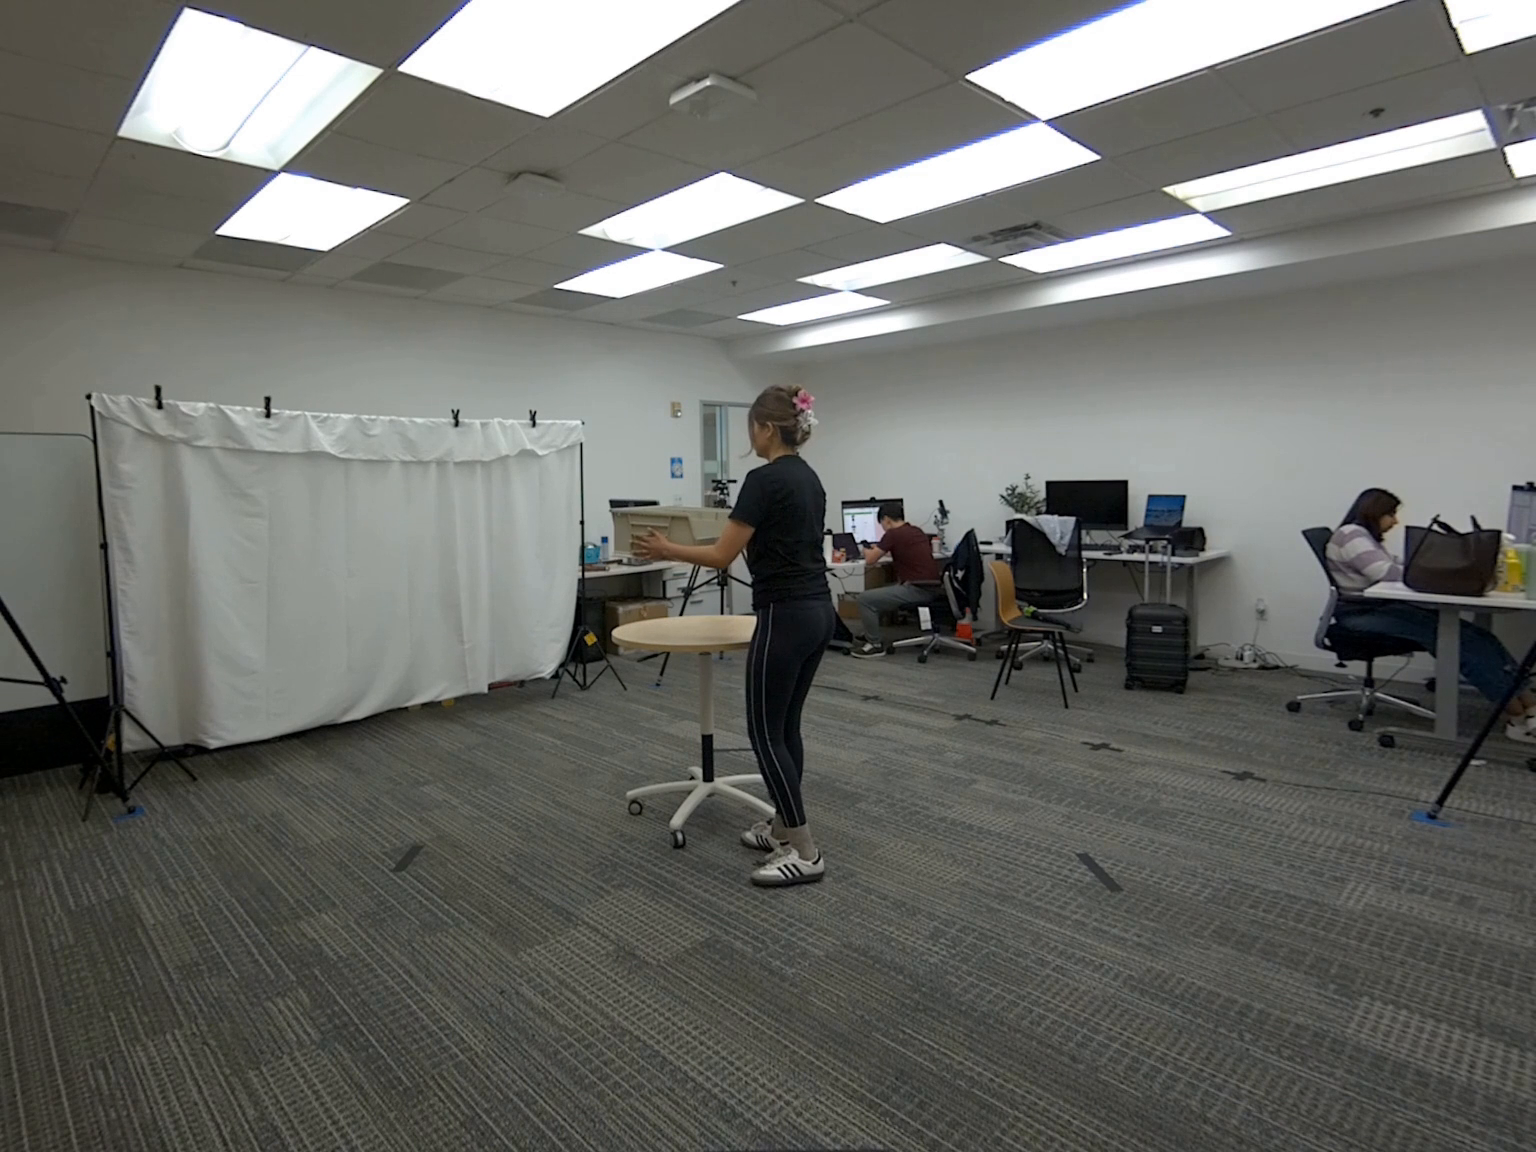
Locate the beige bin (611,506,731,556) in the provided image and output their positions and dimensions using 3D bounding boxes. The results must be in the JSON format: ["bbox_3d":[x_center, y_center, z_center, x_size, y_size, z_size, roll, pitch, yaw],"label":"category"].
[{"bbox_3d":[-0.340,-0.169,3.331,0.386,0.188,0.415,4,9,25],"label":"beige bin"}]
